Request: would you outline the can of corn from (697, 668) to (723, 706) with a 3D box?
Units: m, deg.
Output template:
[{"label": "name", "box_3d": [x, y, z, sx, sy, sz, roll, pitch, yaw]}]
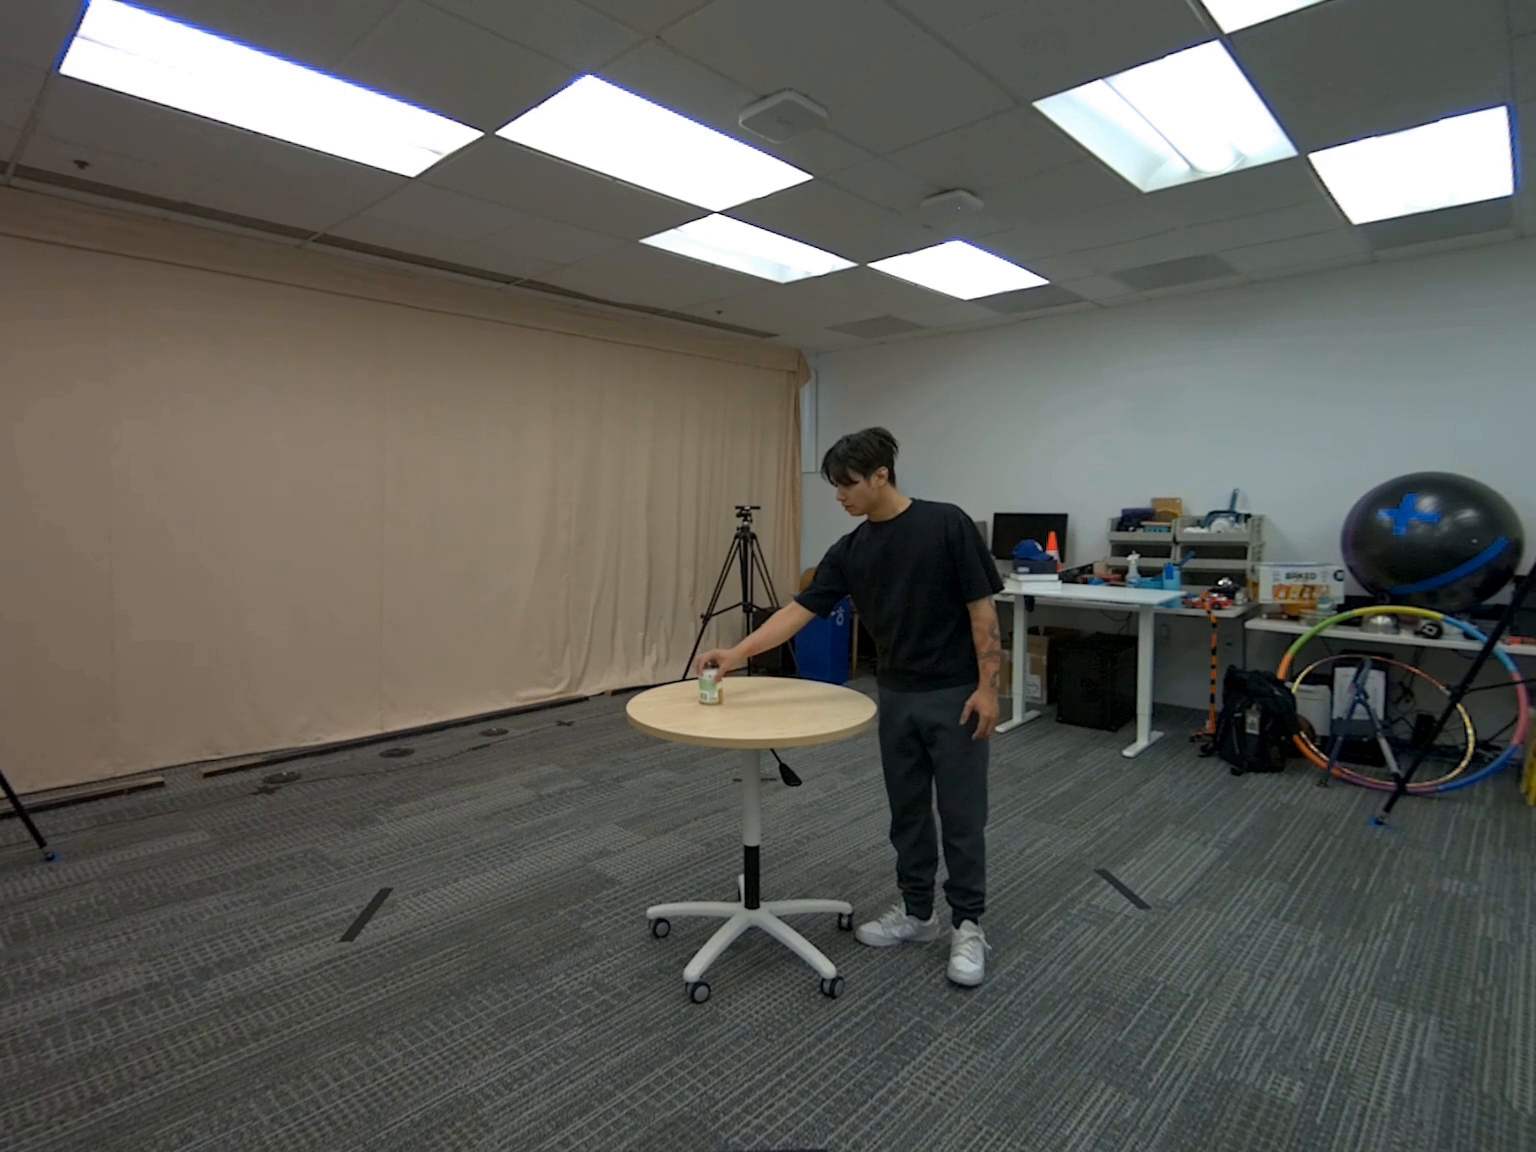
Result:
[{"label": "can of corn", "box_3d": [-0.165, 0.341, 2.607, 0.074, 0.111, 0.074, 1, 2, -2]}]
